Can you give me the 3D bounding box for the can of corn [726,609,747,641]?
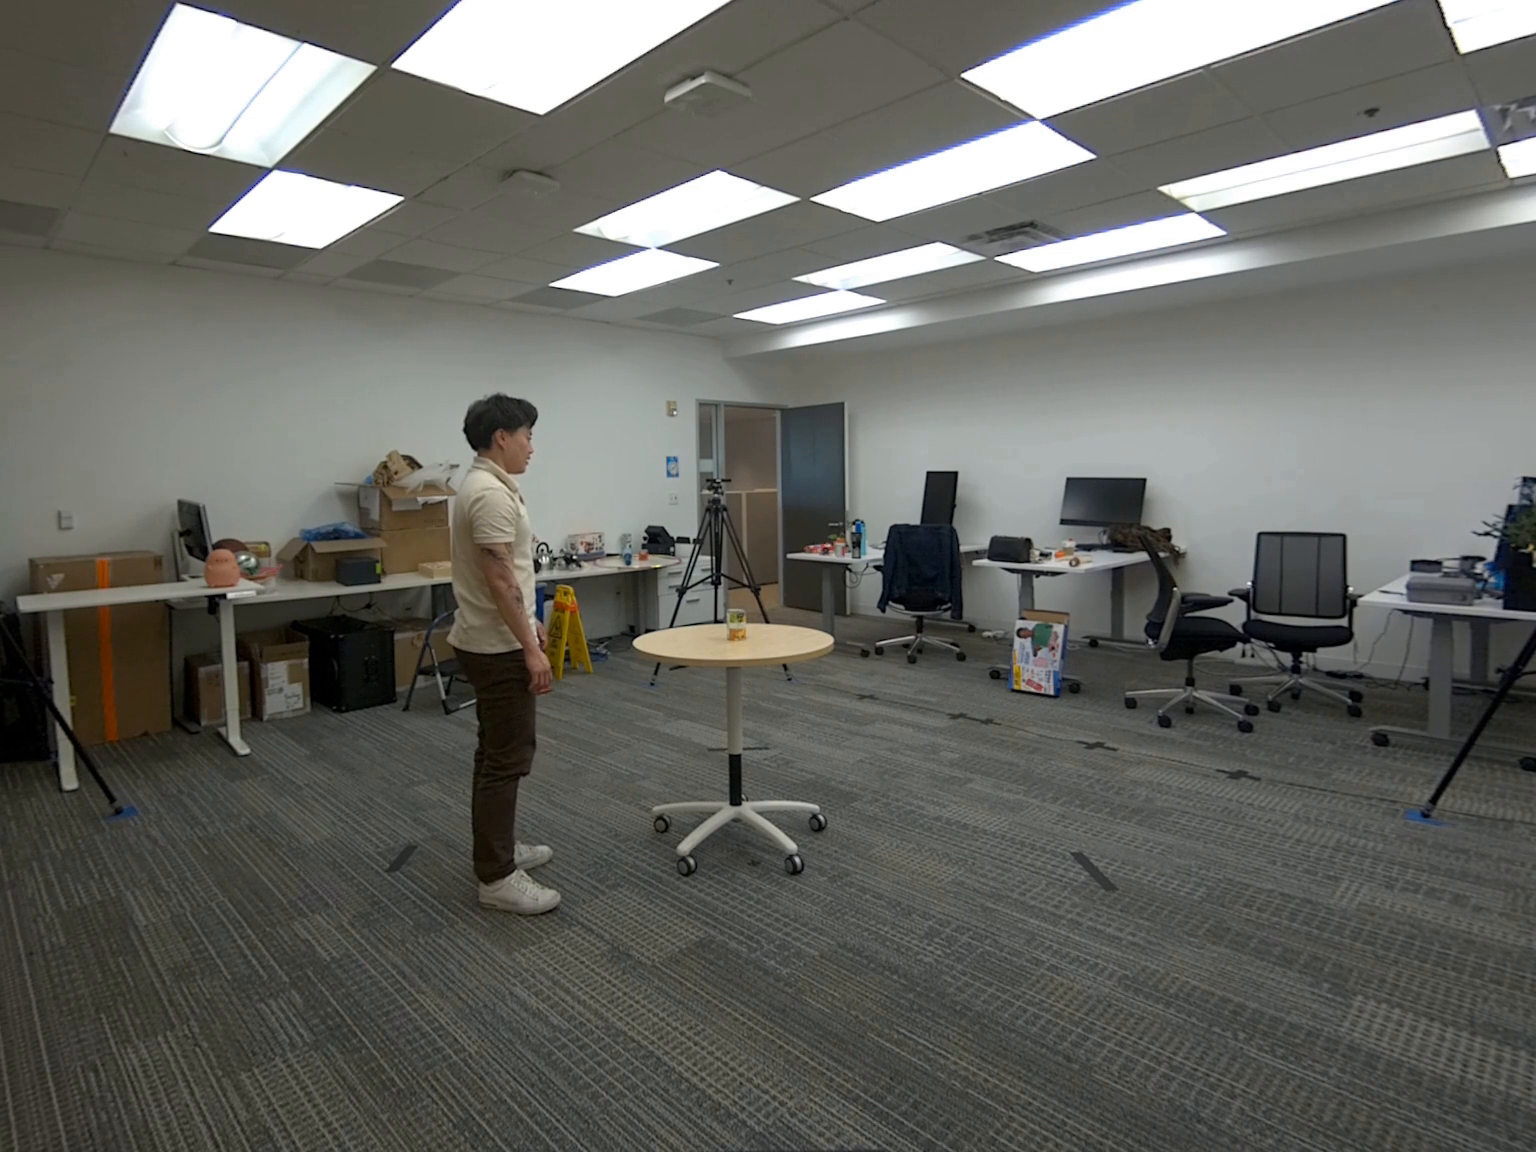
[{"bbox_3d":[-0.115,0.187,3.274,0.074,0.111,0.074,0,4,-2],"label":"can of corn"}]
